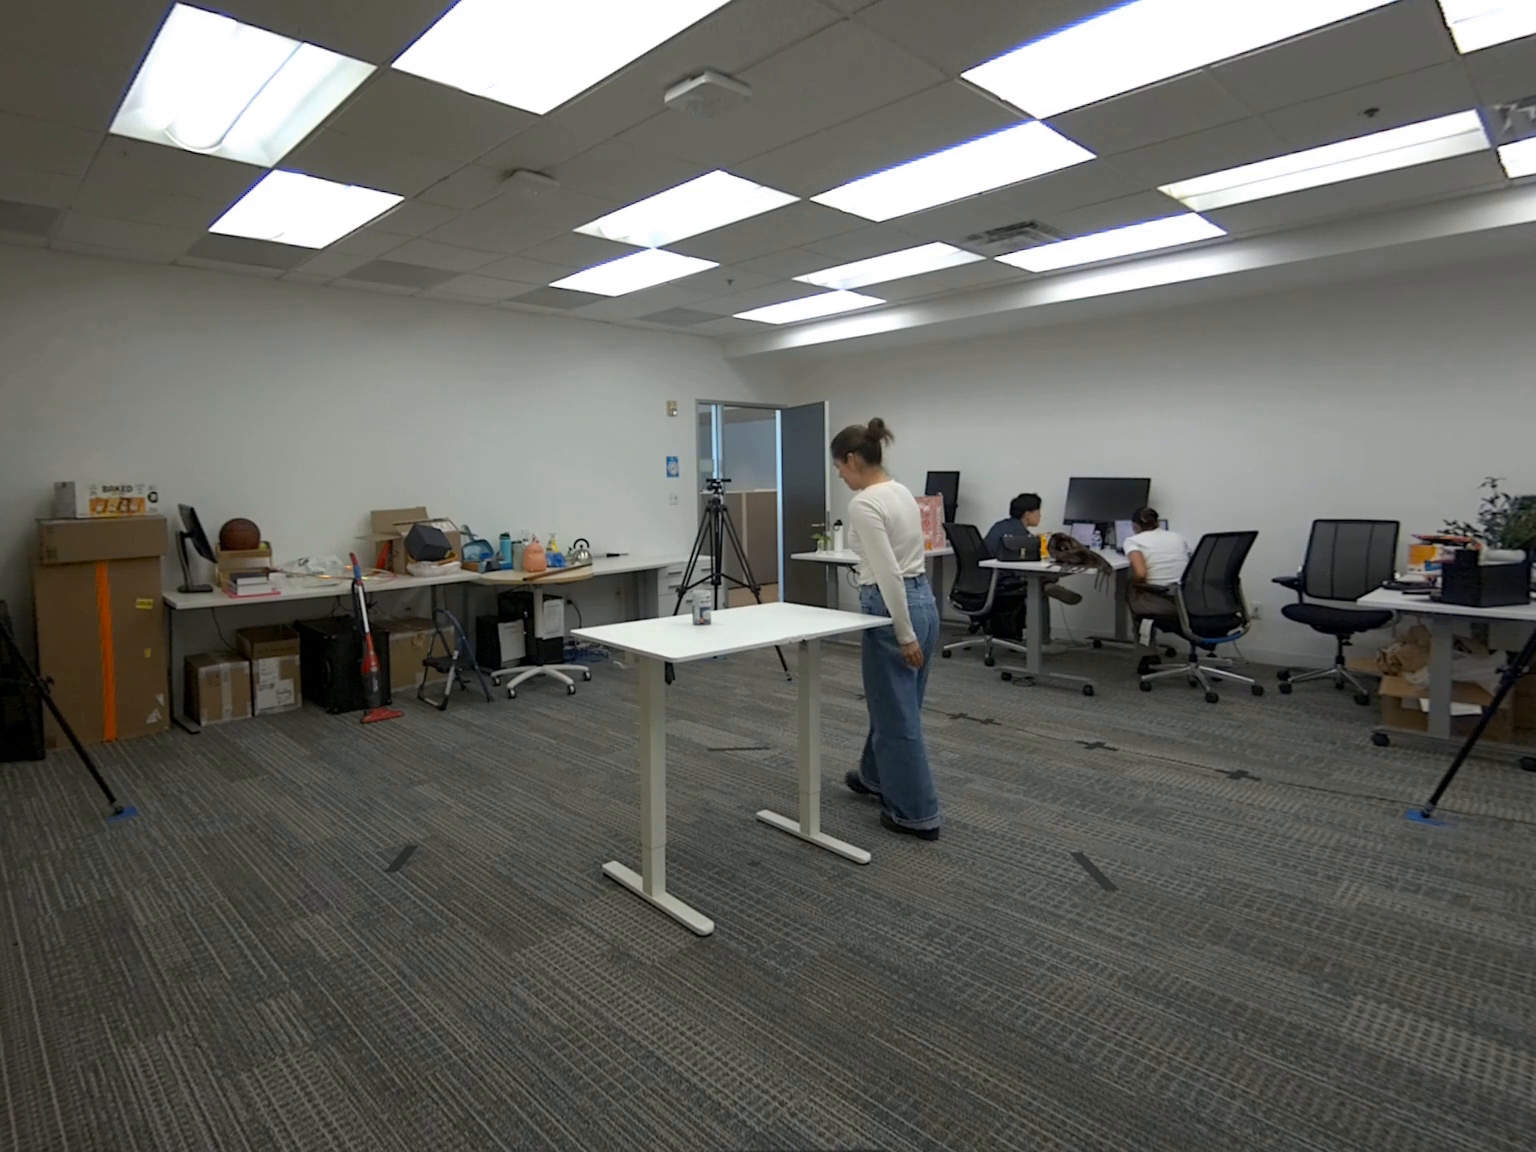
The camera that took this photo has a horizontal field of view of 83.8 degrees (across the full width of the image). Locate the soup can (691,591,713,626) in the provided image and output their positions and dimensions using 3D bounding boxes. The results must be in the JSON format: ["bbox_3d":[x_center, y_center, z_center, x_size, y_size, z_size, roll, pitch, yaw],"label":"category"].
[{"bbox_3d":[-0.233,0.116,3.035,0.067,0.121,0.067,1,2,-2],"label":"soup can"}]
